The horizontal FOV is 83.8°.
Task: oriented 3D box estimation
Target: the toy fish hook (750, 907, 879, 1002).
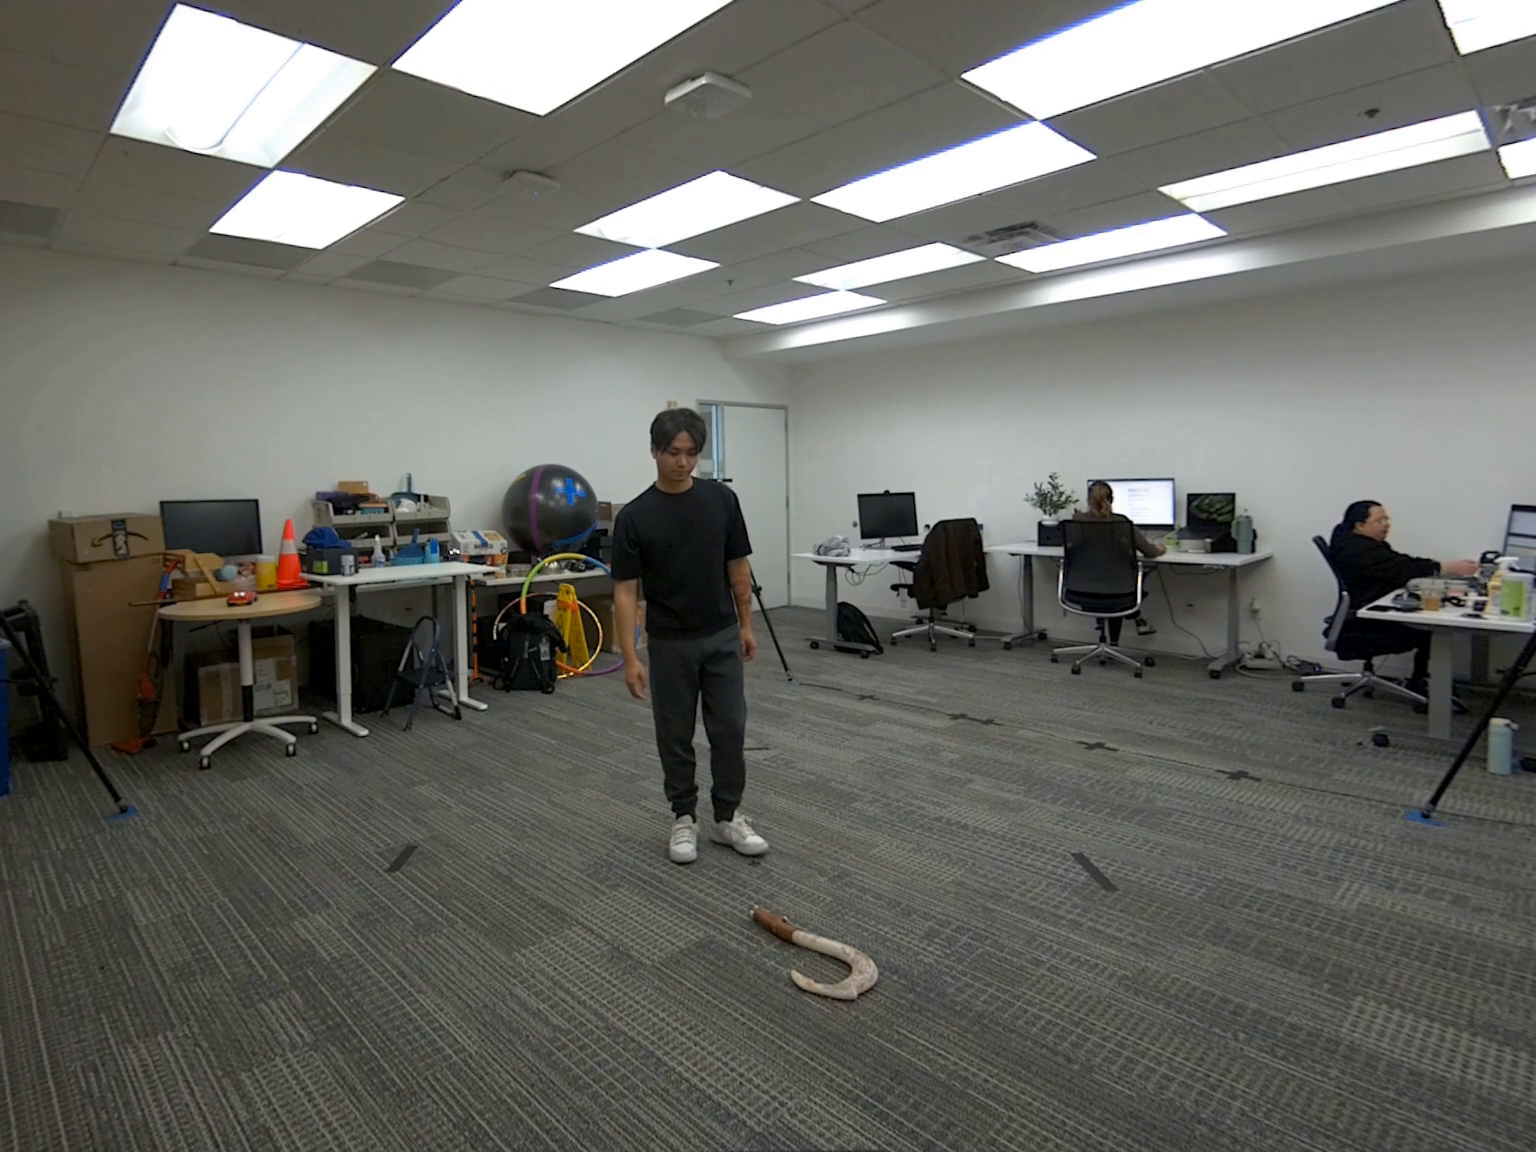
[{"bbox_3d":[0.093,1.093,2.491,0.218,0.048,0.522,-6,8,-42],"label":"toy fish hook"}]
